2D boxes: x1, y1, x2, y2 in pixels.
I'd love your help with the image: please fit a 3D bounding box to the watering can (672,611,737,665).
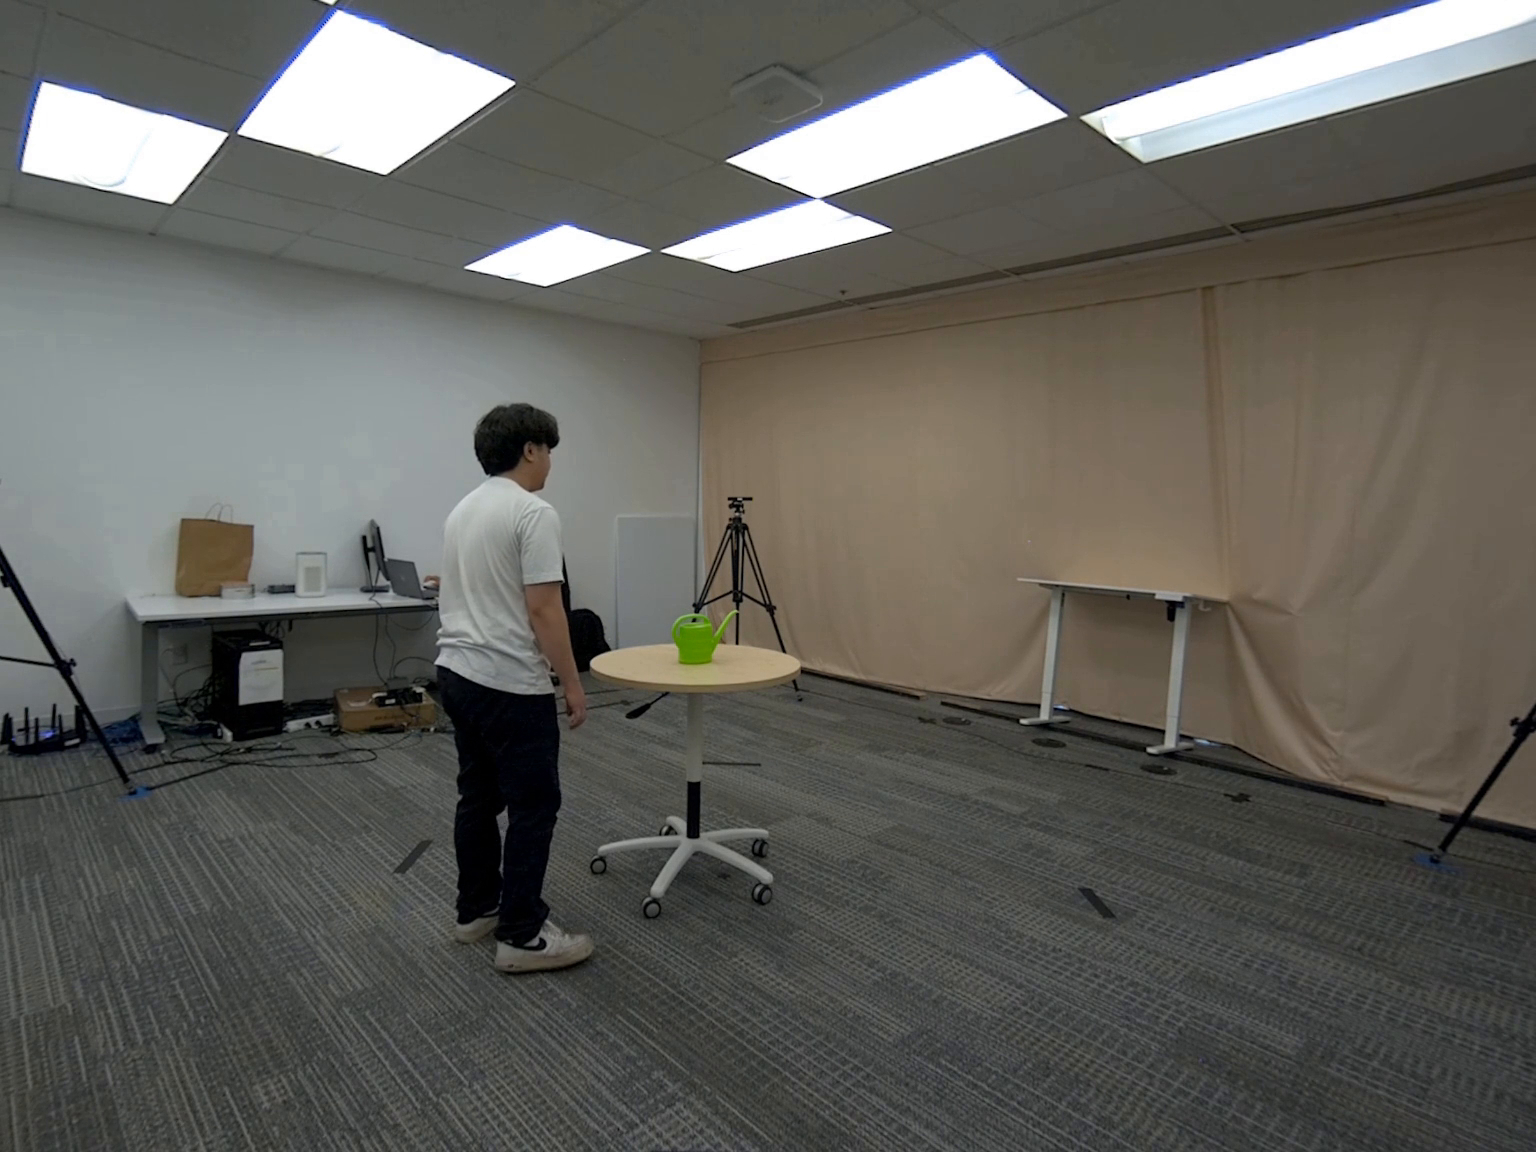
[{"bbox_3d":[-0.233,0.226,3.081,0.274,0.176,0.100,-2,7,-20],"label":"watering can"}]
